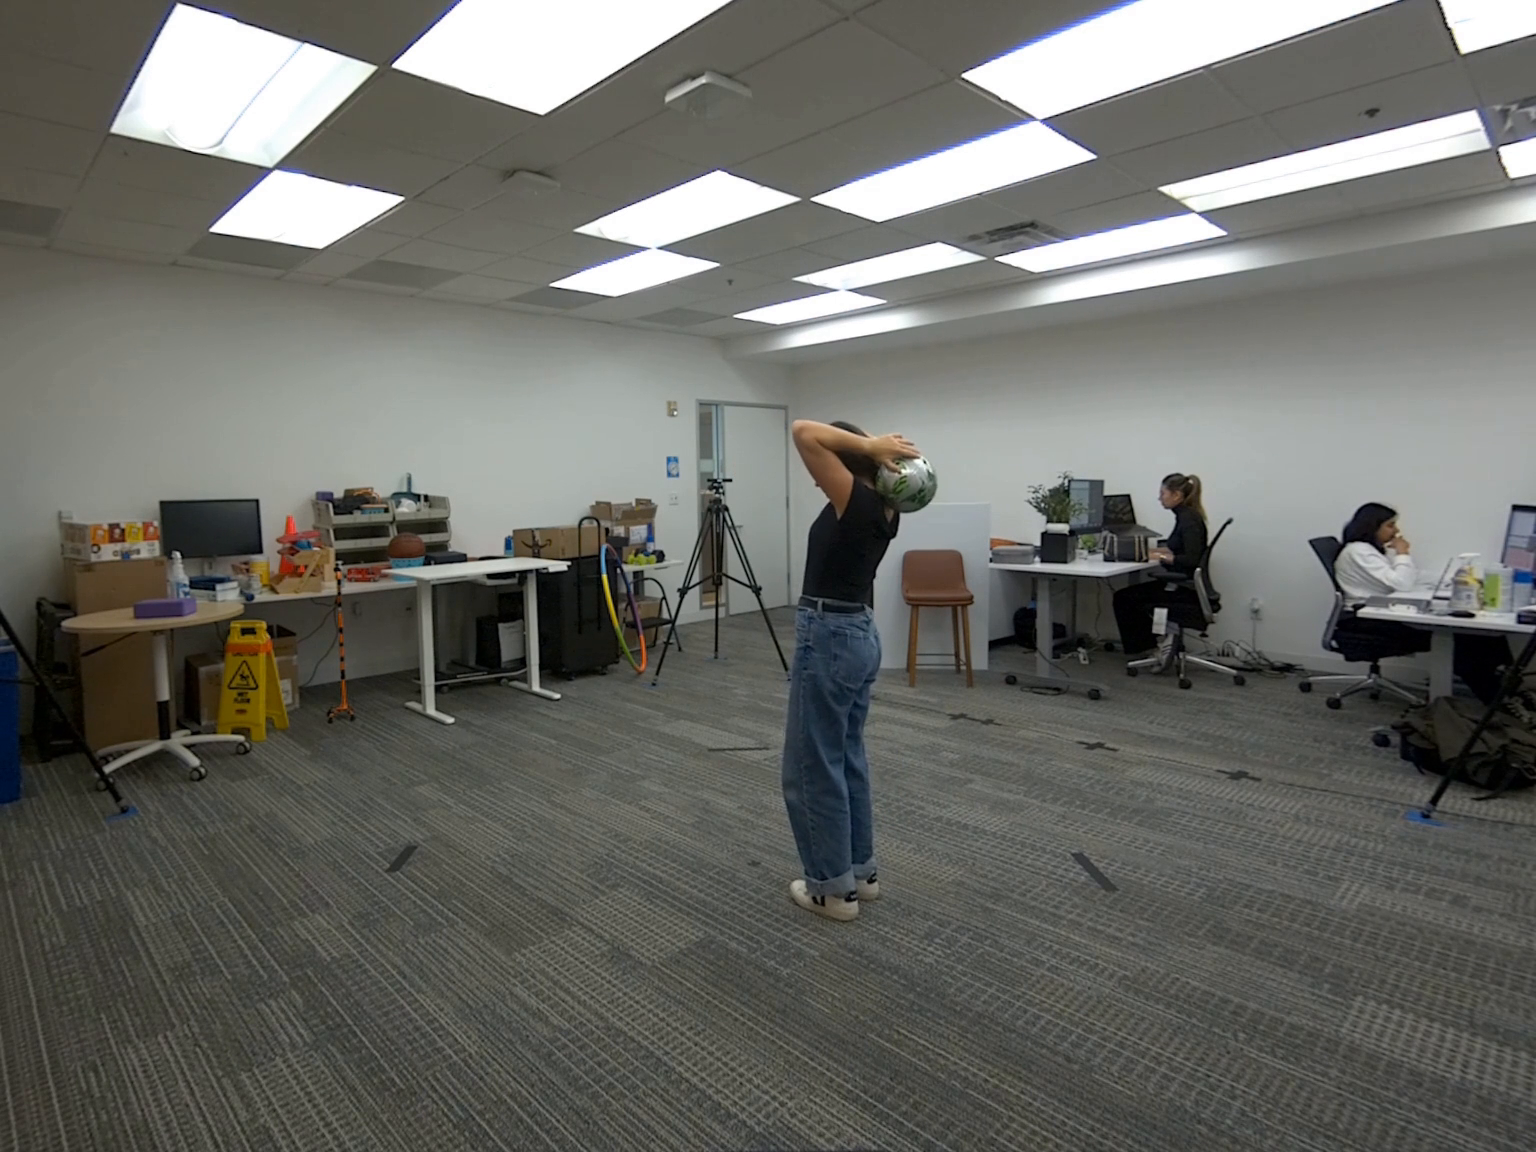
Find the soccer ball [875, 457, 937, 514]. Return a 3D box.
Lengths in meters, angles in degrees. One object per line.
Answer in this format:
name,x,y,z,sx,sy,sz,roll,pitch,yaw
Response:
soccer ball,0.418,-0.286,2.626,0.187,0.187,0.188,-1,5,-2
